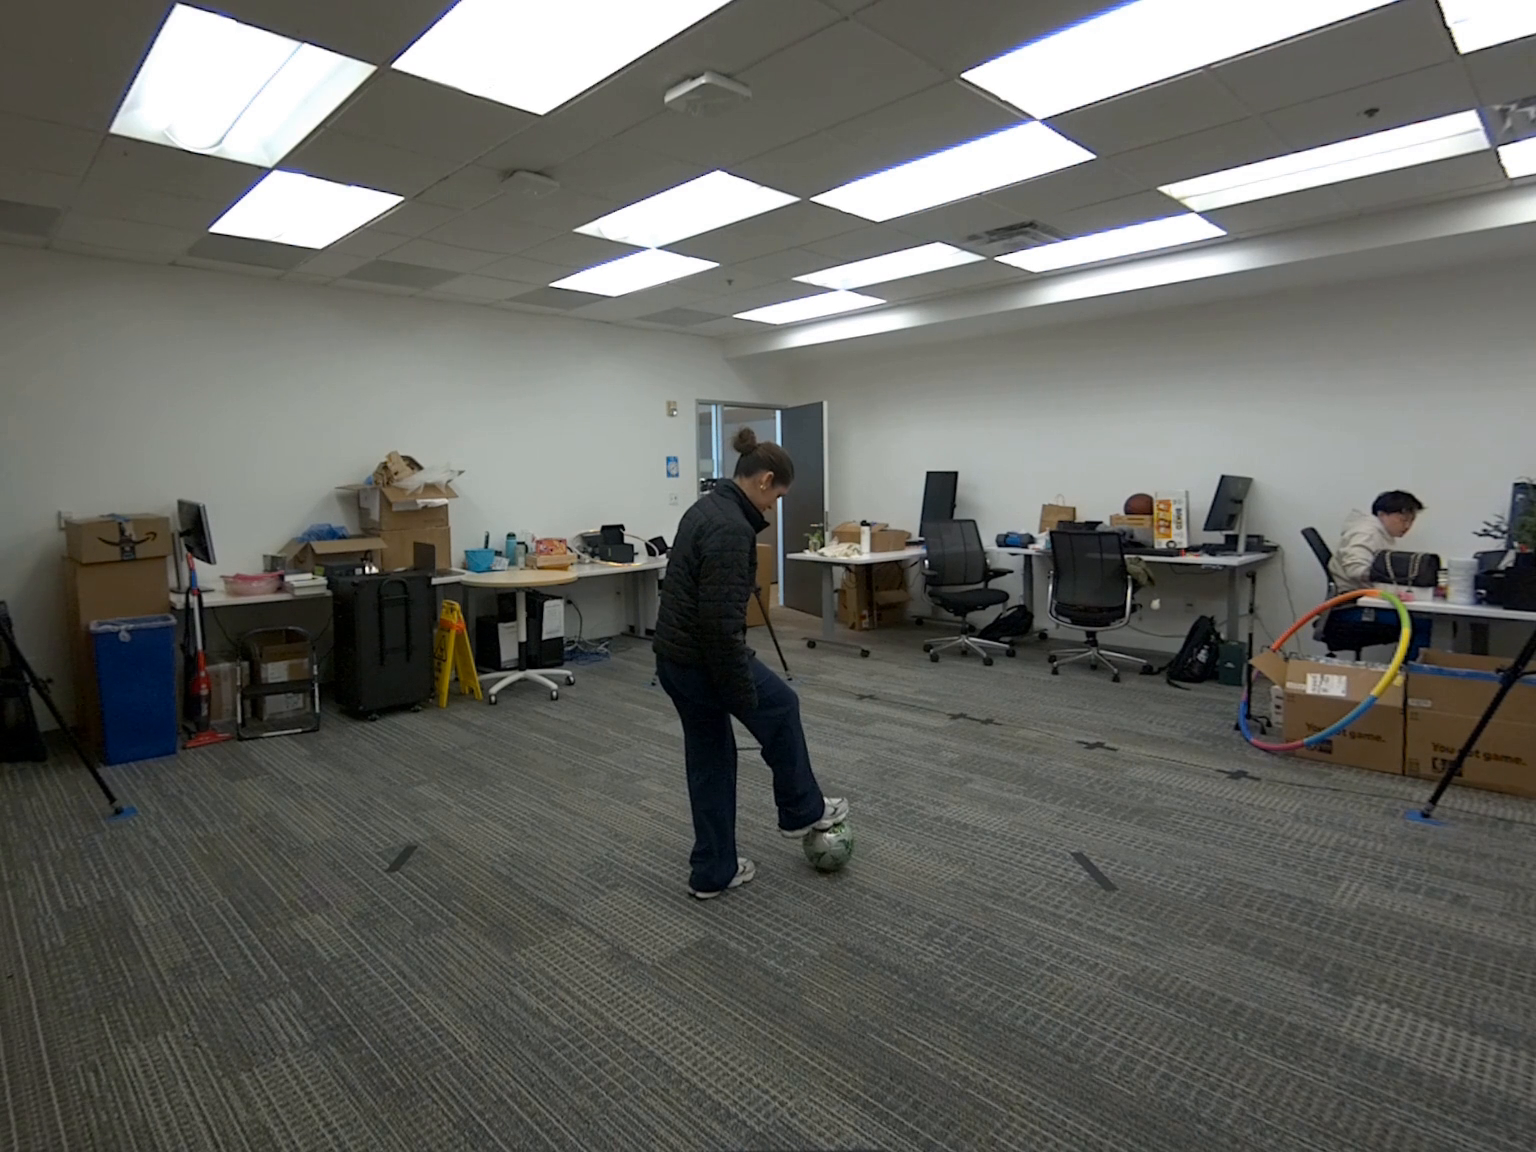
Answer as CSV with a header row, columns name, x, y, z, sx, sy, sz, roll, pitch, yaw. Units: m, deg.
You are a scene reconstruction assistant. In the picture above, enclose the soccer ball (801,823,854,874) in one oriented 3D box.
name,x,y,z,sx,sy,sz,roll,pitch,yaw
soccer ball,0.212,0.950,3.052,0.187,0.187,0.188,-1,5,-2
